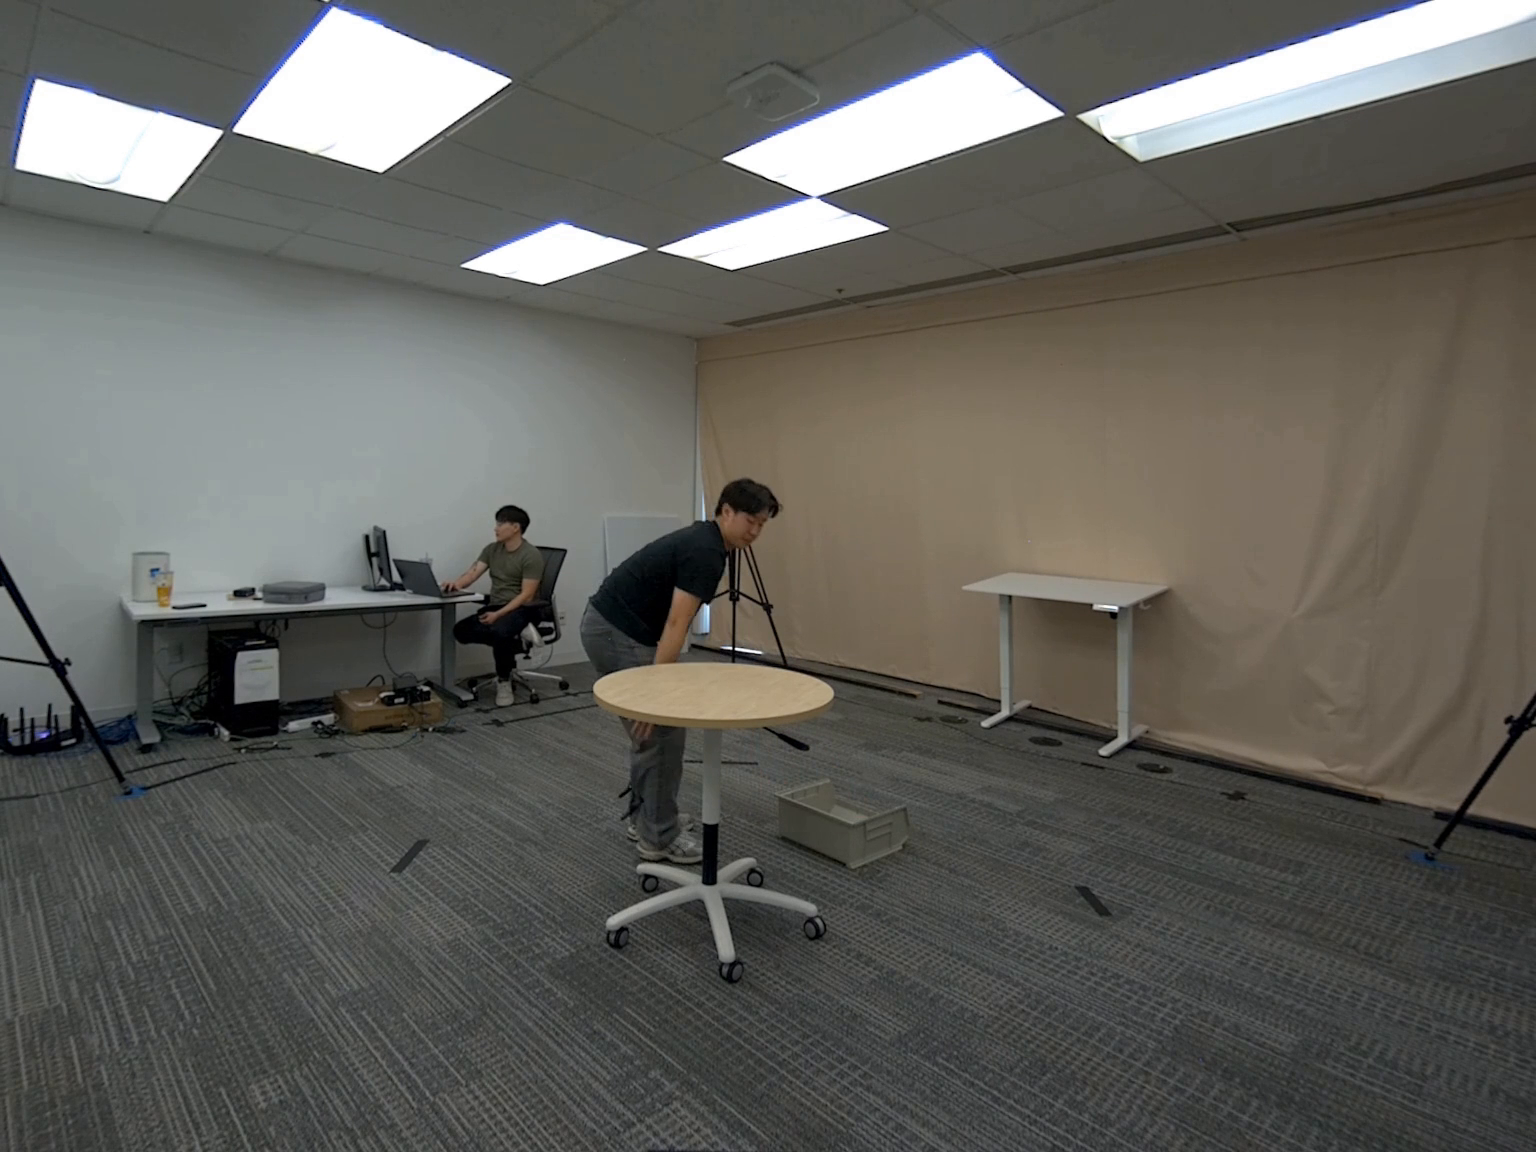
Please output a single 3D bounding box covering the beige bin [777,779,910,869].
[{"bbox_3d":[0.294,0.997,3.439,0.369,0.188,0.433,-4,7,-43],"label":"beige bin"}]
